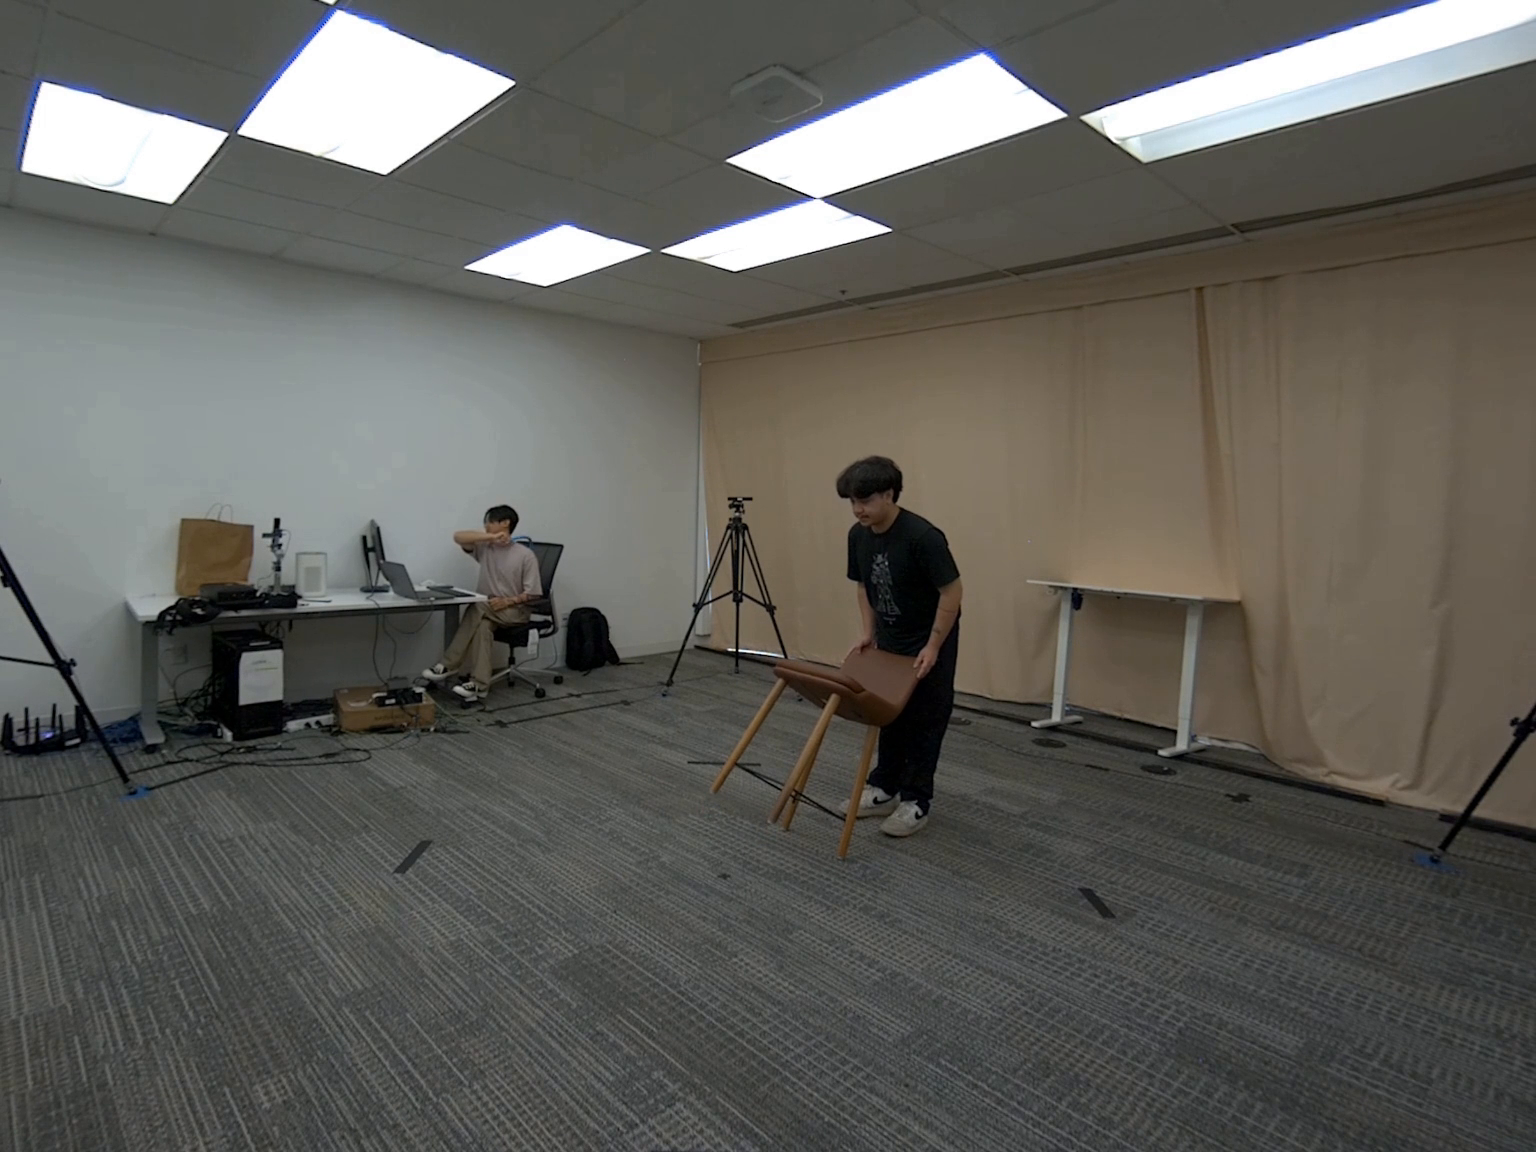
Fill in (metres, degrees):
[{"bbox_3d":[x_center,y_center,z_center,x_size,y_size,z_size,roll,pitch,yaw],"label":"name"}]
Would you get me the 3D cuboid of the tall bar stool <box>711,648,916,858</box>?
[{"bbox_3d":[0.219,0.605,3.420,0.454,0.893,0.468,38,-19,-32],"label":"tall bar stool"}]
